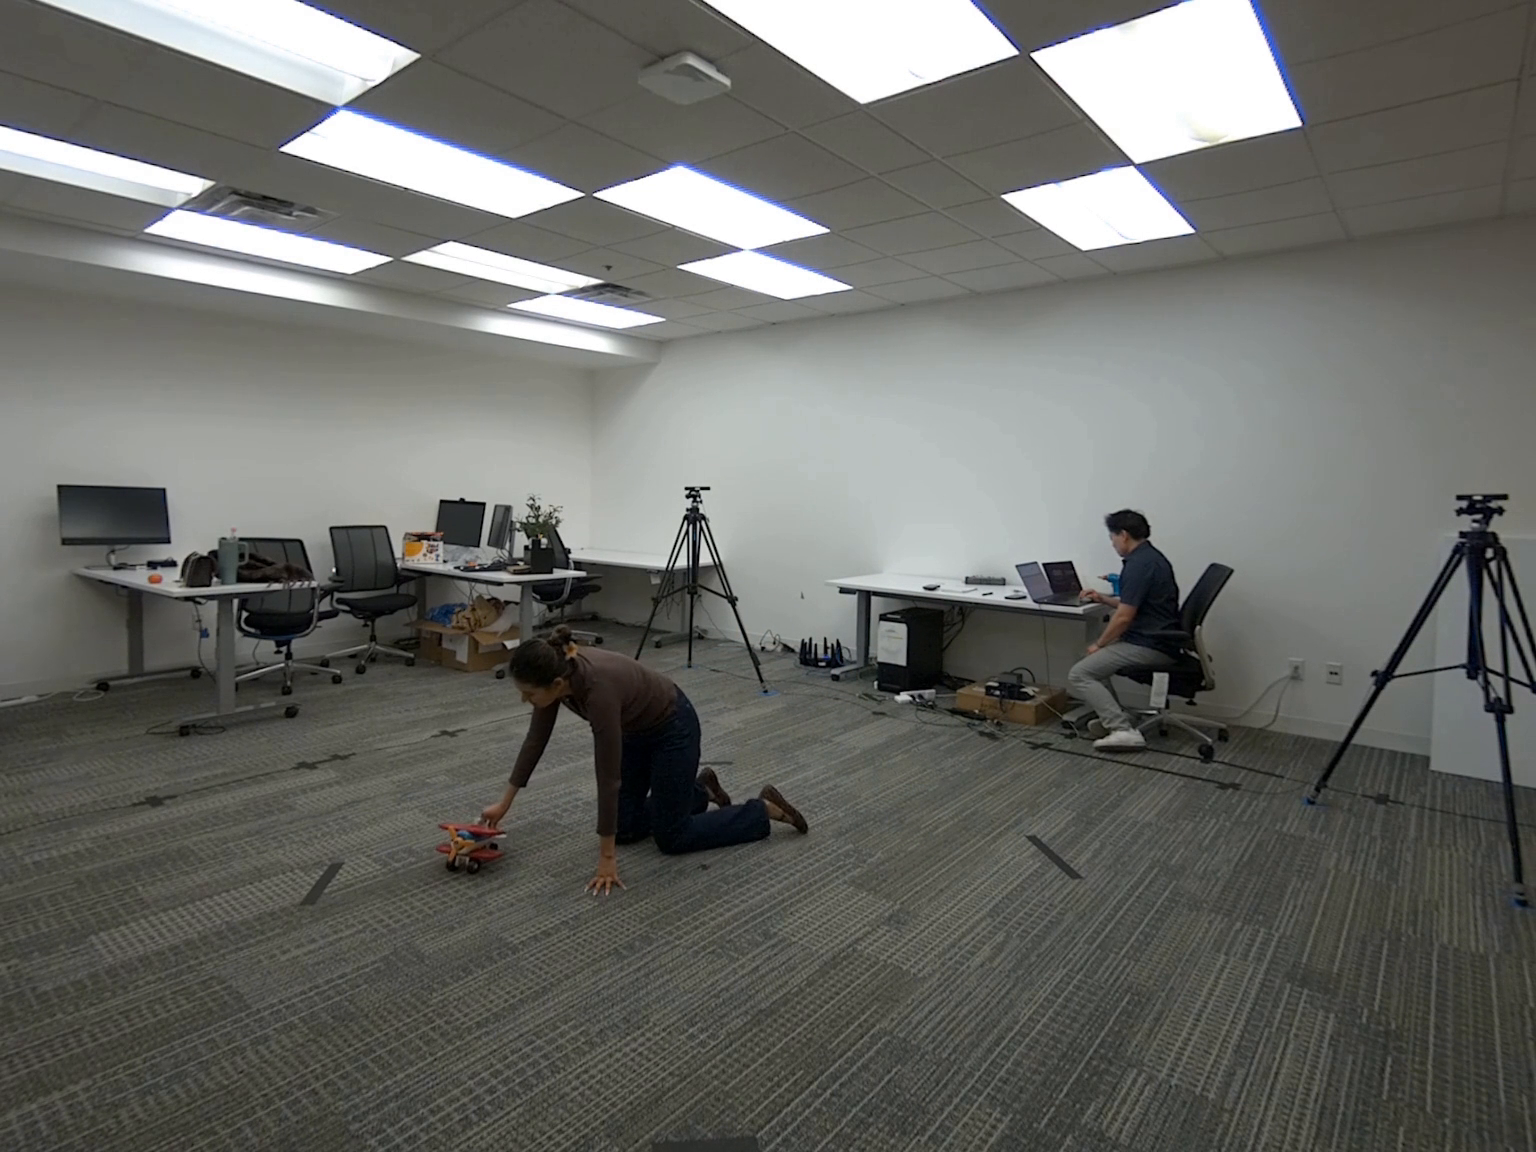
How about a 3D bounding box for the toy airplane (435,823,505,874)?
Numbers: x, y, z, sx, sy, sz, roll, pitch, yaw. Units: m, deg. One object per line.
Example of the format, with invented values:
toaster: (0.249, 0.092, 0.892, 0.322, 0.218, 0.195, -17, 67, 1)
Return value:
toy airplane: (-1.106, 0.977, 3.134, 0.248, 0.156, 0.264, -1, 6, -14)
